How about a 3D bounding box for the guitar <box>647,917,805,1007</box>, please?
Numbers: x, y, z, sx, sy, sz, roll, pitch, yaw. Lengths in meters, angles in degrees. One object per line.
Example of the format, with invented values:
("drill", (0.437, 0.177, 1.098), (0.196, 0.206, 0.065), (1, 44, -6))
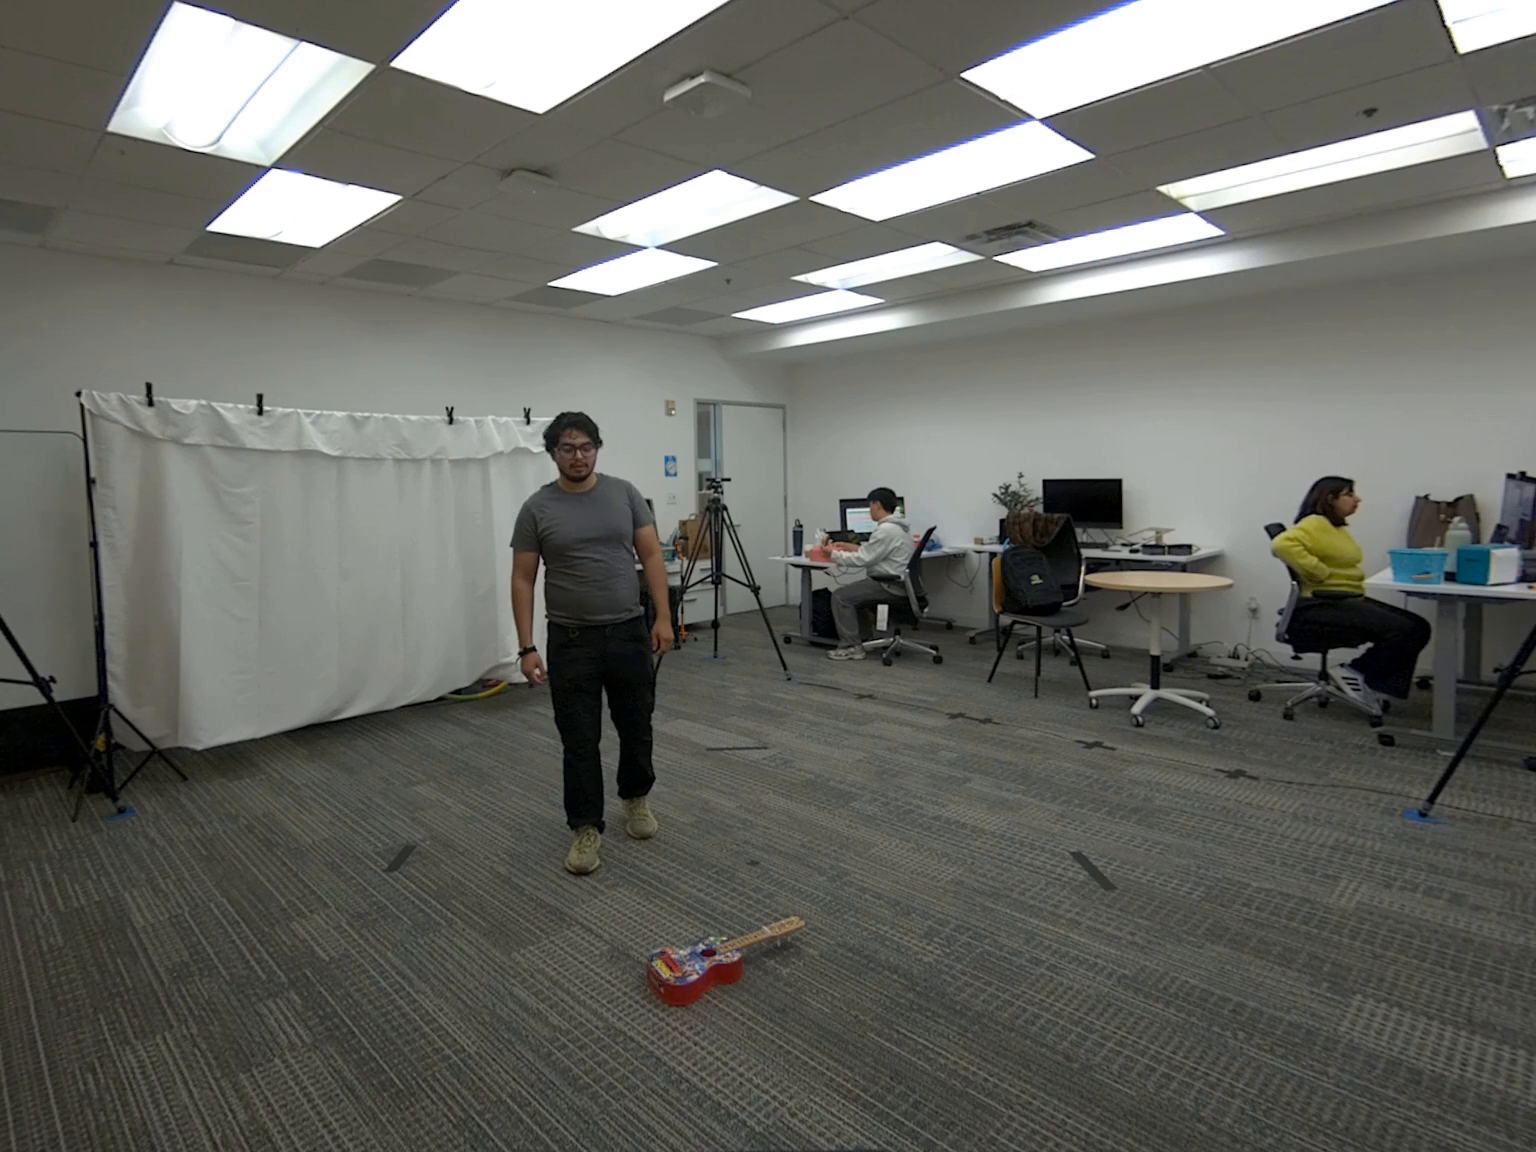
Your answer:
("guitar", (-0.088, 1.090, 2.429), (0.488, 0.070, 0.197), (-4, 6, -22))
